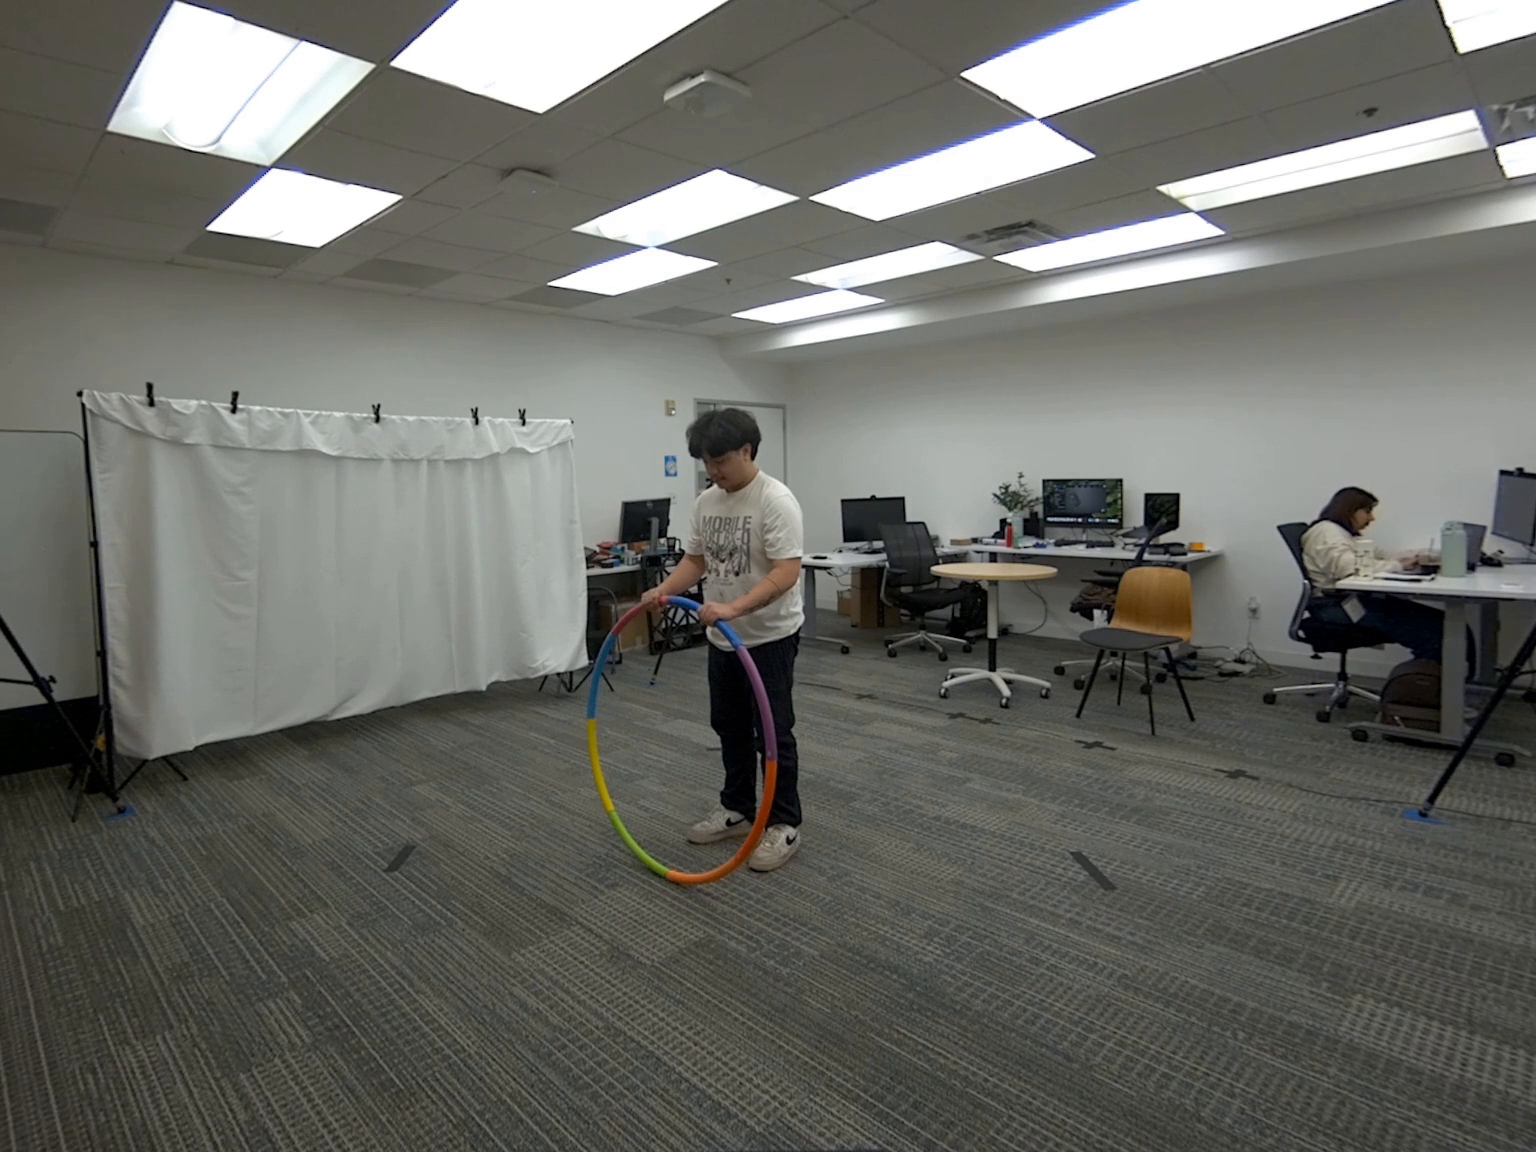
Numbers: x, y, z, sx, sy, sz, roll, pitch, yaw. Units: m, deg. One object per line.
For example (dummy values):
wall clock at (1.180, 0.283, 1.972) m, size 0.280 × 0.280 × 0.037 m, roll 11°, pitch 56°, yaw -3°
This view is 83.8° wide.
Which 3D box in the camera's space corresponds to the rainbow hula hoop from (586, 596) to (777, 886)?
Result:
rainbow hula hoop at (-0.336, 0.568, 3.000) m, size 1.016 × 0.985 × 0.050 m, roll 4°, pitch 1°, yaw 45°
